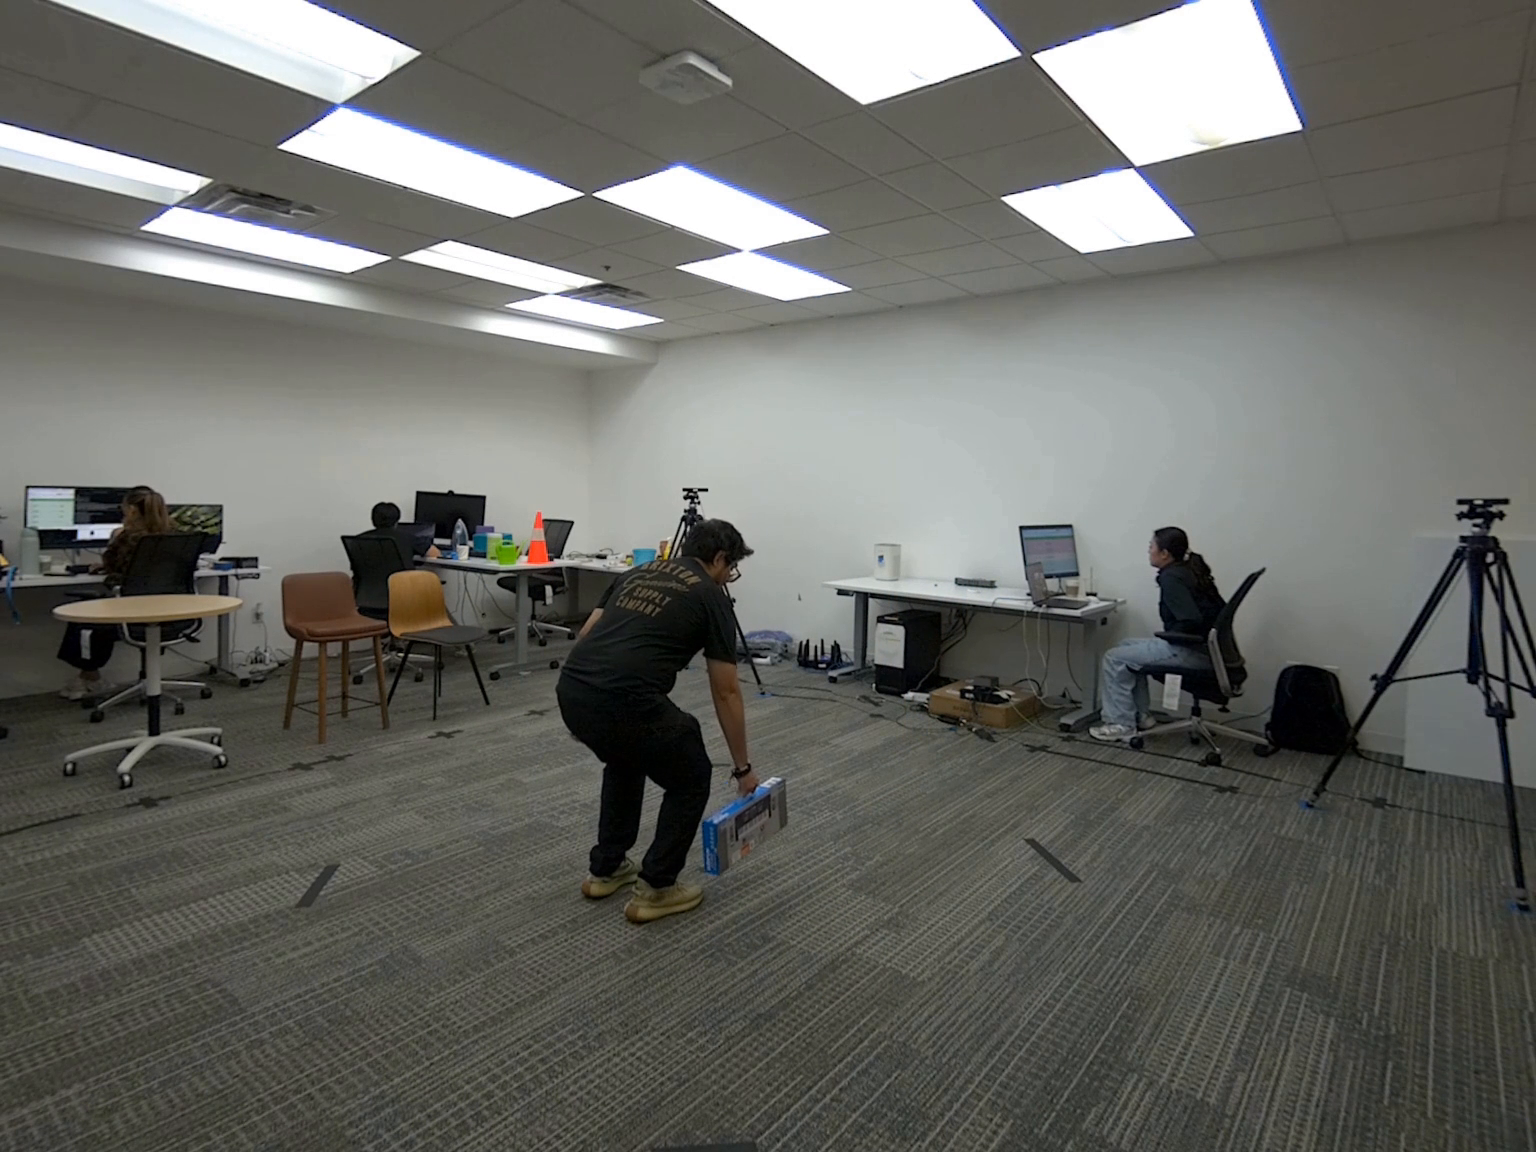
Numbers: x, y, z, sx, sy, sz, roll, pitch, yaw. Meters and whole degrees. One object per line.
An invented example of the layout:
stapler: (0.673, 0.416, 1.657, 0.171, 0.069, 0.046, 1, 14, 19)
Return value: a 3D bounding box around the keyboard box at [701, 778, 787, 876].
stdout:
keyboard box: (-0.079, 0.839, 2.885, 0.061, 0.175, 0.427, 1, 8, 33)
